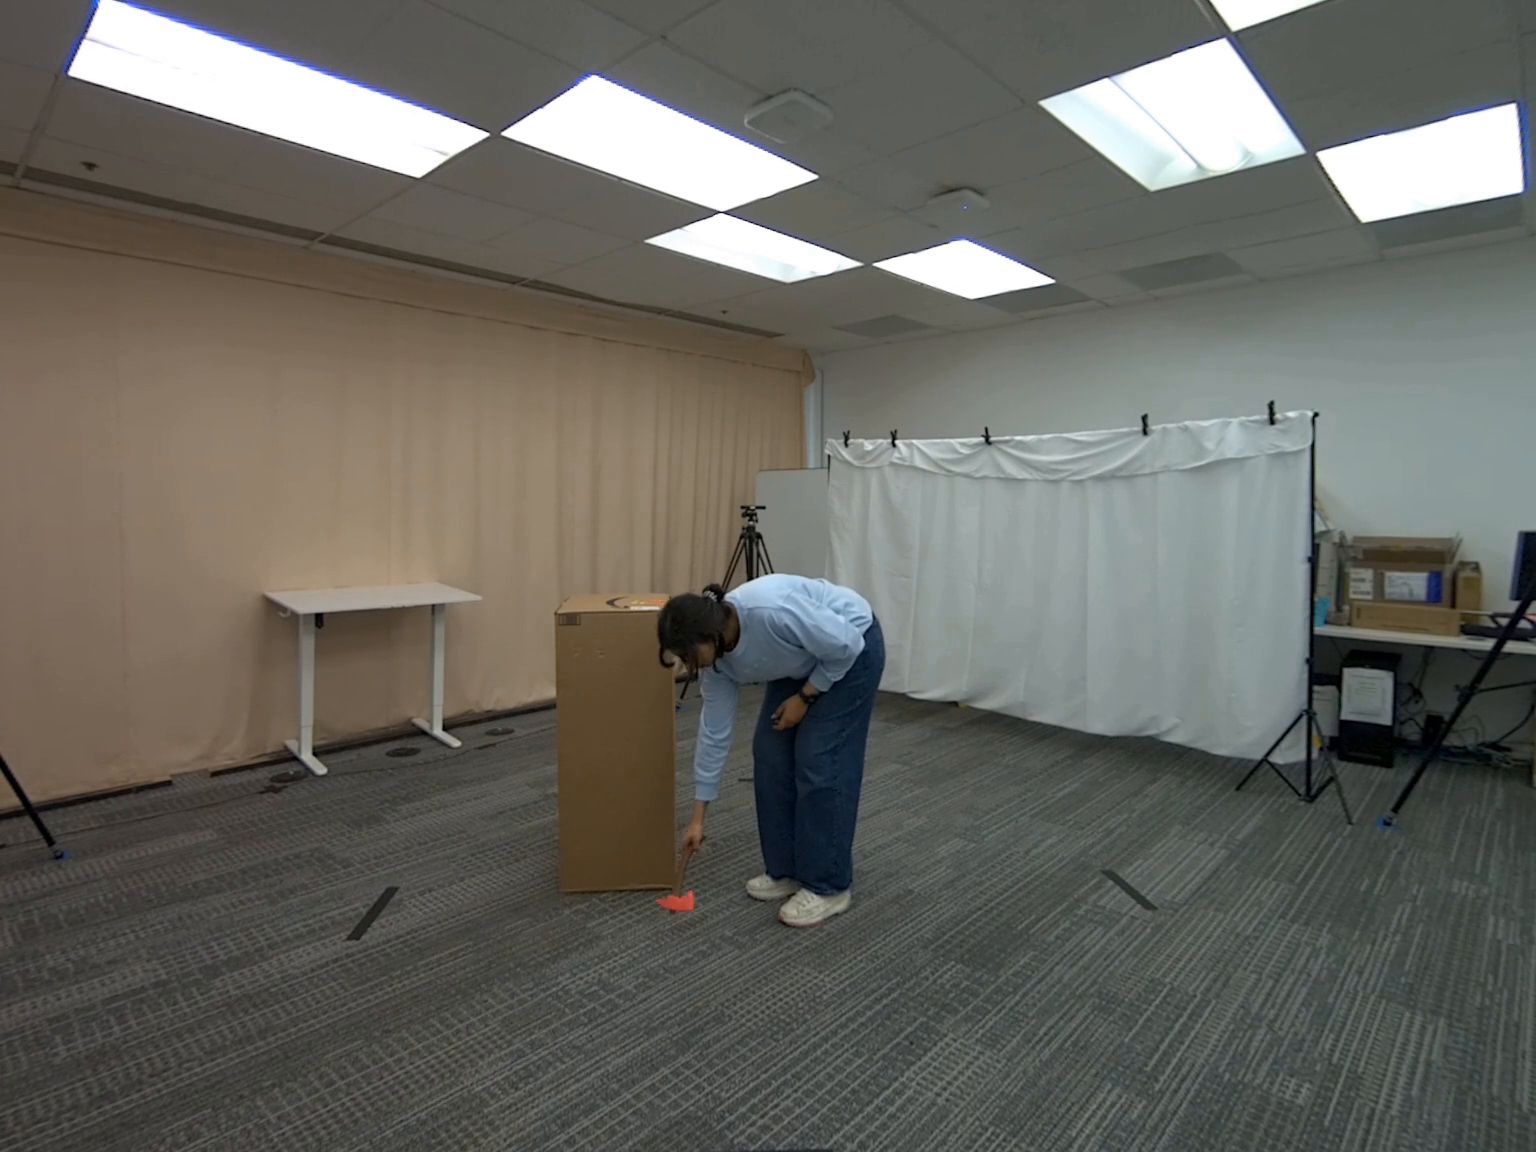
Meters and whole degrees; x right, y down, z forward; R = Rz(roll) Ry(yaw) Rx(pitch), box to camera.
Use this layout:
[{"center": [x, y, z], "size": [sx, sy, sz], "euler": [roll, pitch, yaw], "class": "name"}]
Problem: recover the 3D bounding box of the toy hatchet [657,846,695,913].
[{"center": [-0.251, 0.990, 2.789], "size": [0.135, 0.269, 0.028], "euler": [23, -21, 34], "class": "toy hatchet"}]
